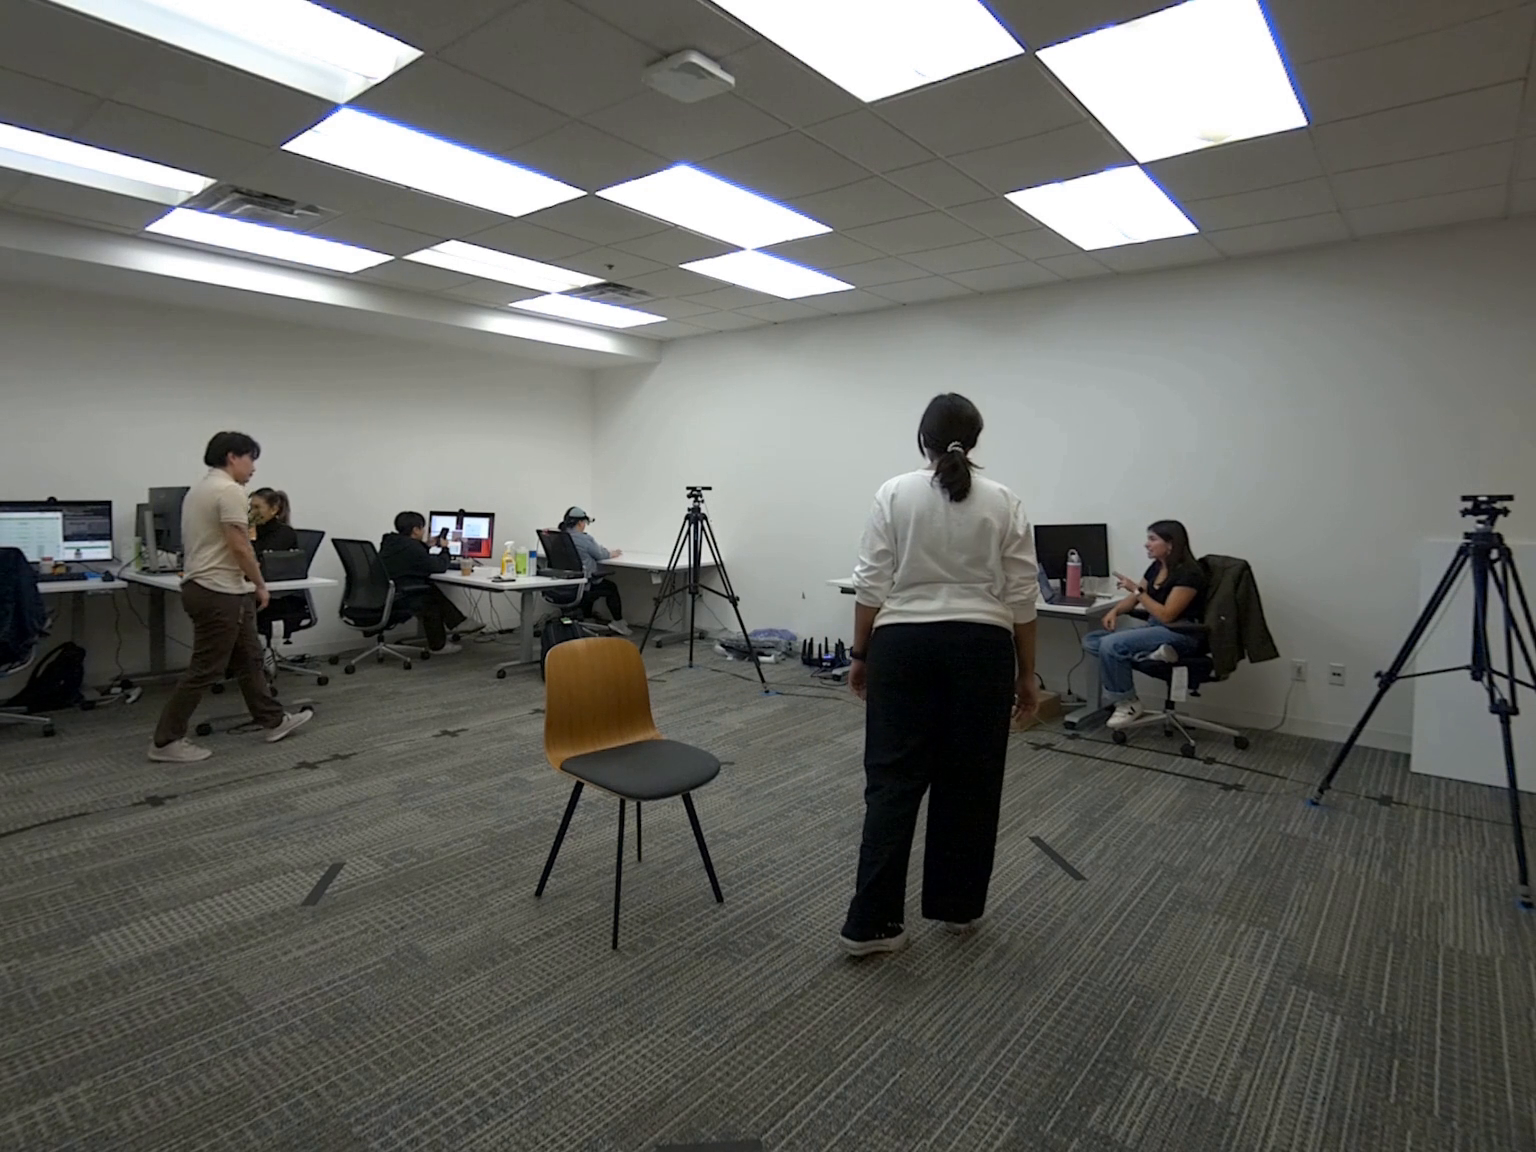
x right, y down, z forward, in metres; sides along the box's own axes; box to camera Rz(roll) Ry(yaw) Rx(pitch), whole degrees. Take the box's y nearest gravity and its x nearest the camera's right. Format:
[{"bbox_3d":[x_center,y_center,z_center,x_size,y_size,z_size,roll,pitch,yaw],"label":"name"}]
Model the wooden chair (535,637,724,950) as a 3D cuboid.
[{"bbox_3d":[-0.454,0.660,2.830,0.463,0.878,0.539,-2,0,-45],"label":"wooden chair"}]
